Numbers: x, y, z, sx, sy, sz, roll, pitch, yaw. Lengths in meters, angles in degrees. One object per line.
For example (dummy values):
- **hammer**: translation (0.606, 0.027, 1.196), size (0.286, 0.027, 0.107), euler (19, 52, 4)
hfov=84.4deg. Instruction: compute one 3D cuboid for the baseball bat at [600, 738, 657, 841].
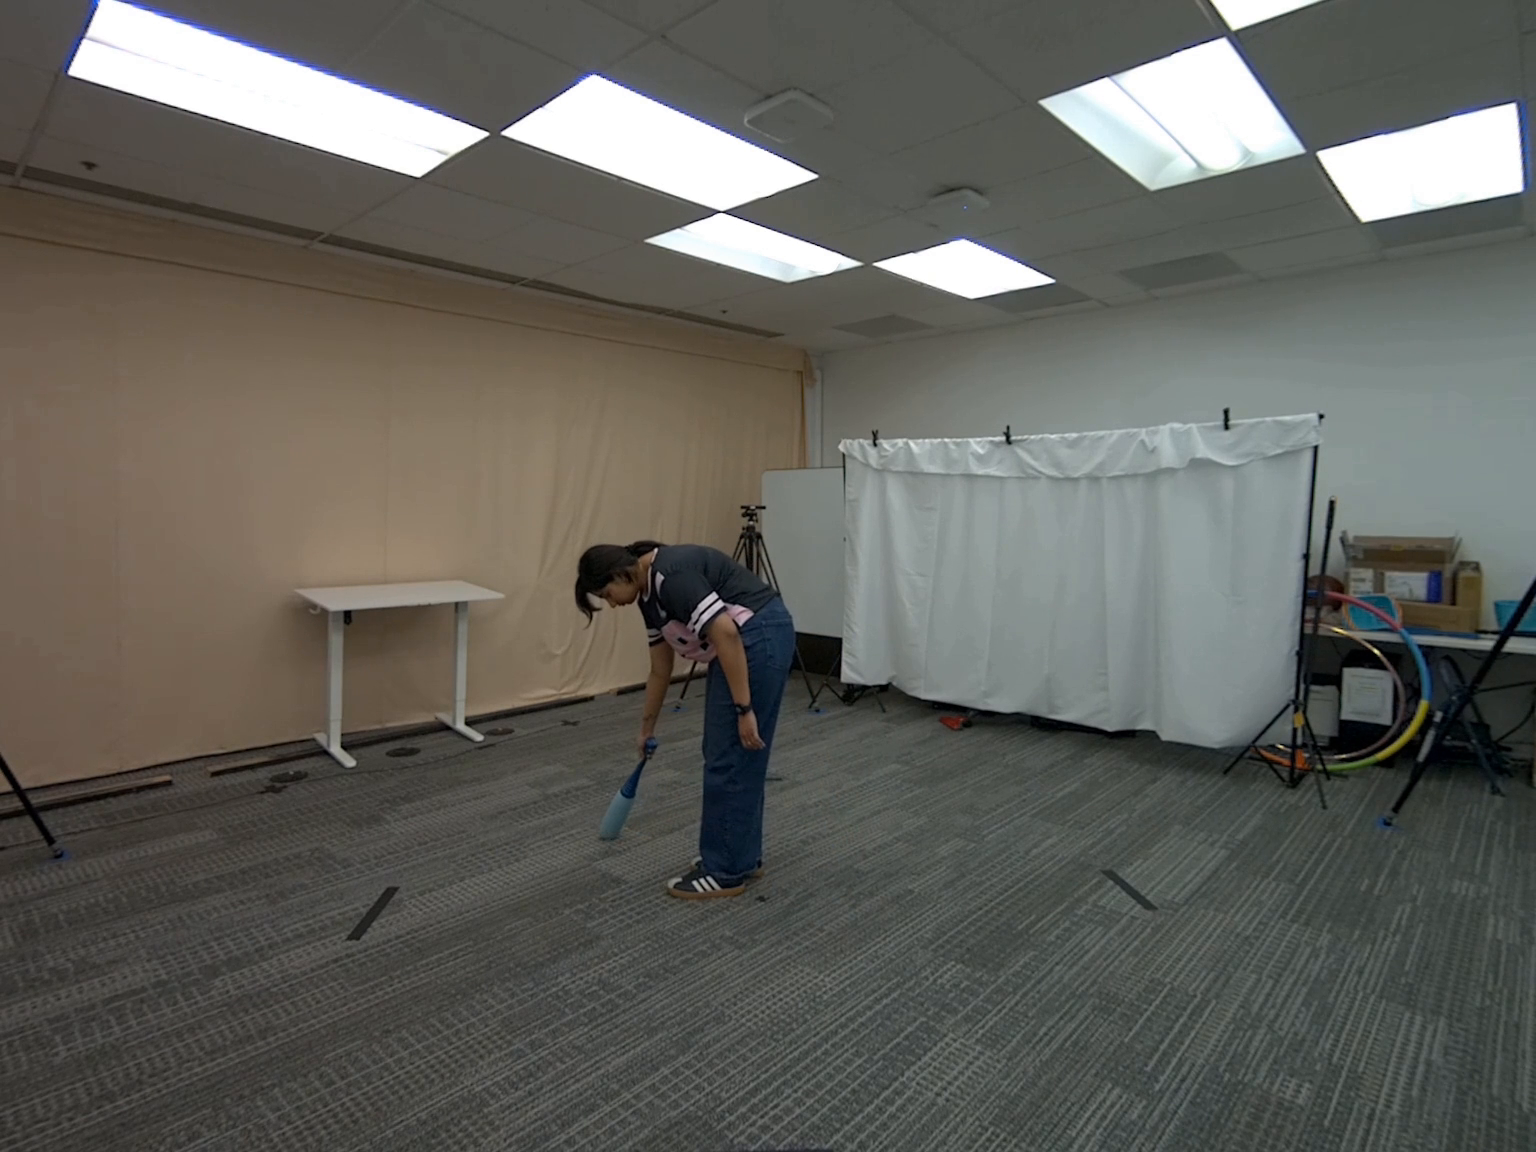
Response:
- **baseball bat**: translation (-0.573, 0.872, 3.441), size (0.088, 0.542, 0.090), euler (21, 27, -13)
